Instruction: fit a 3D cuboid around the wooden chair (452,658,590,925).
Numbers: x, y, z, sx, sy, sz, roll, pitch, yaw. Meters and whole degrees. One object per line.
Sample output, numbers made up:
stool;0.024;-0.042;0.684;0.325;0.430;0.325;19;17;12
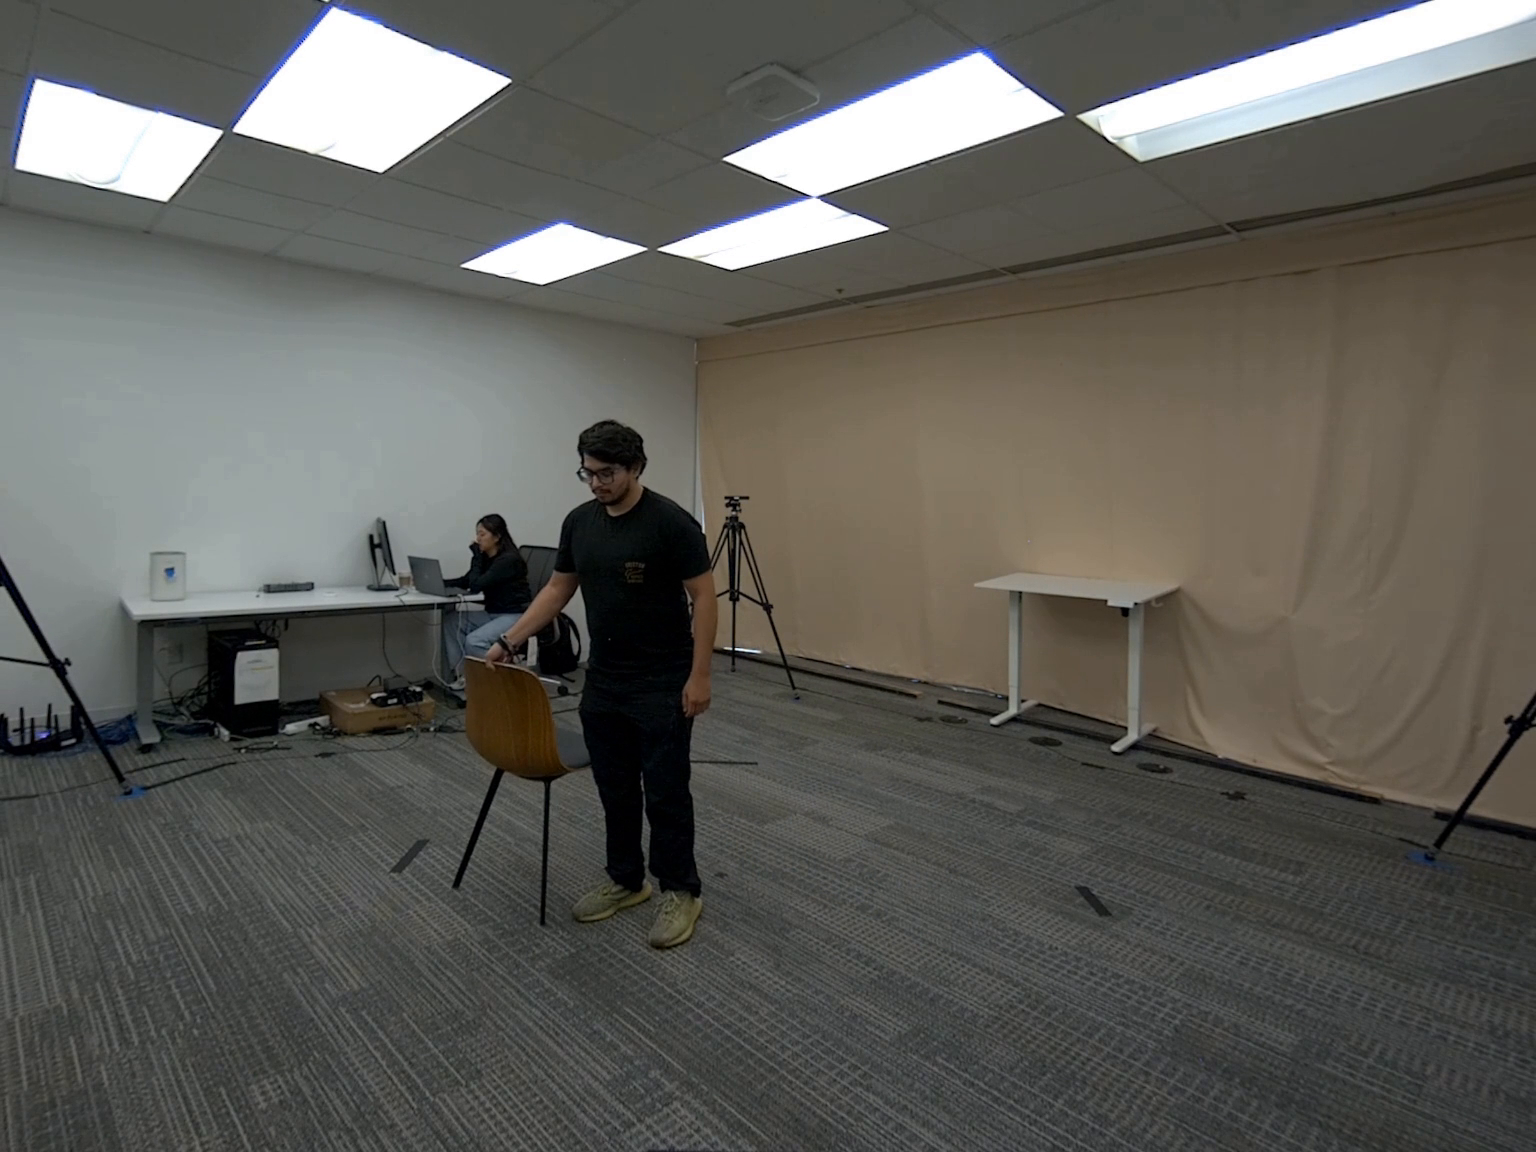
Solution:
wooden chair;-0.792;0.671;3.001;0.489;0.873;0.514;3;8;32
